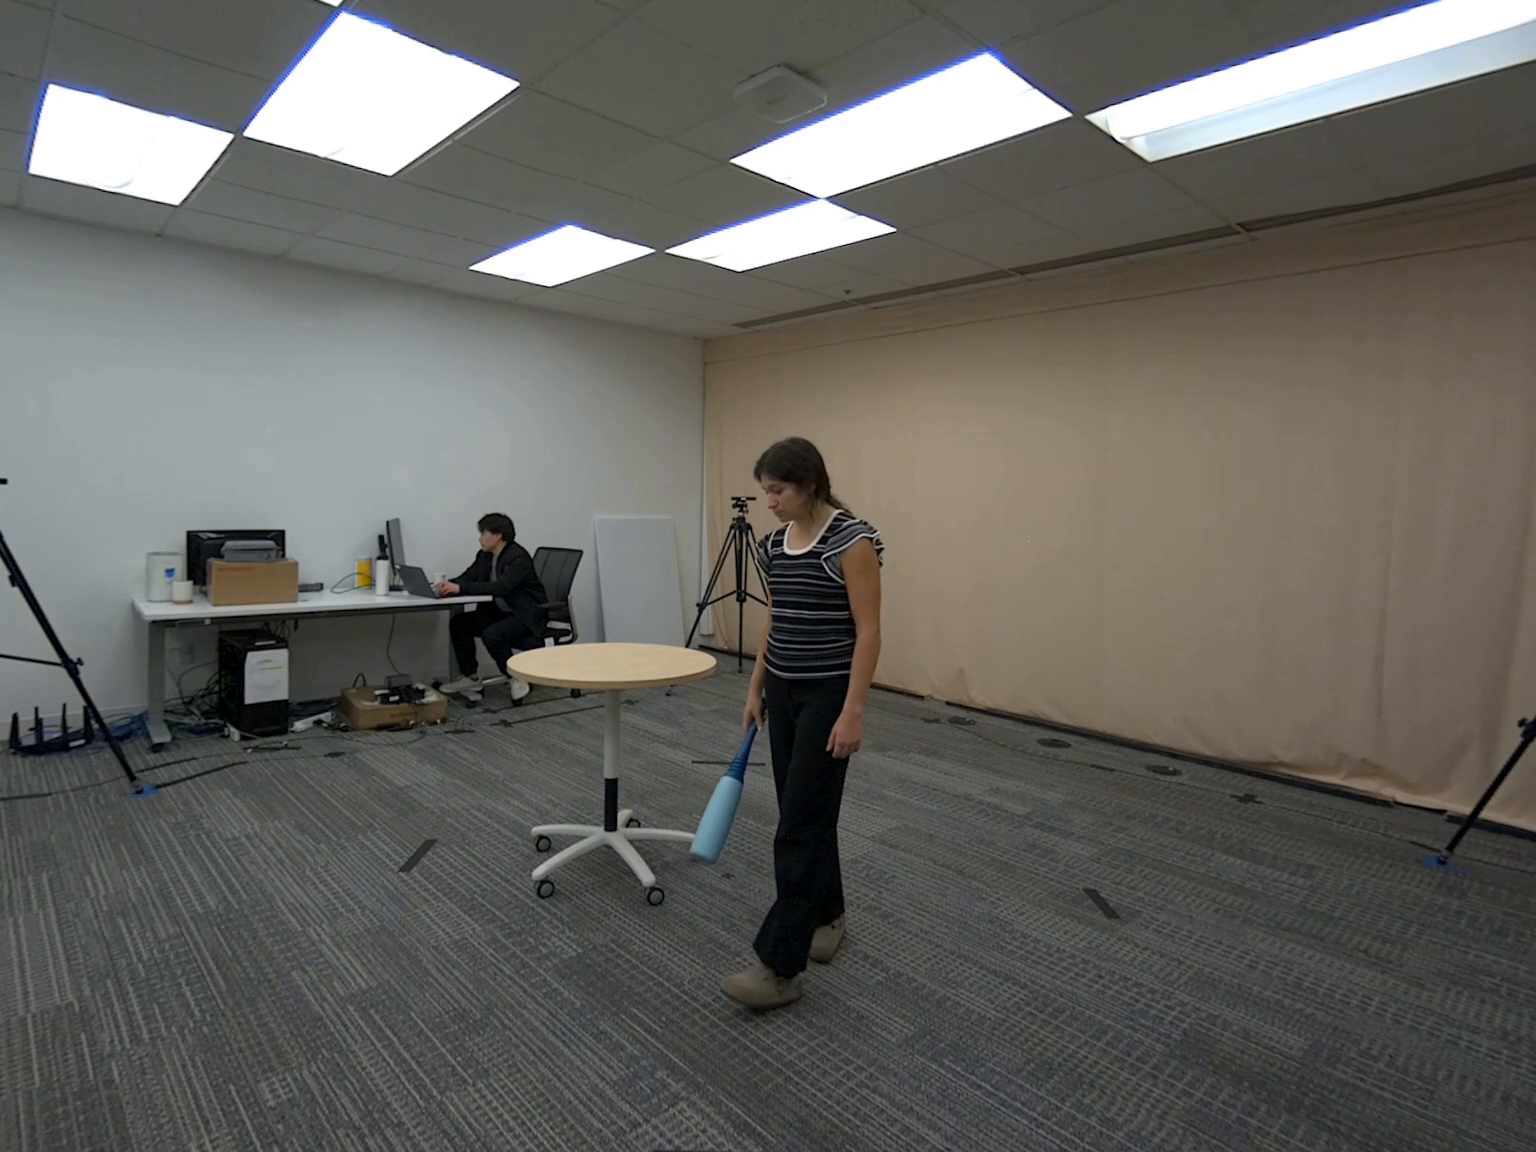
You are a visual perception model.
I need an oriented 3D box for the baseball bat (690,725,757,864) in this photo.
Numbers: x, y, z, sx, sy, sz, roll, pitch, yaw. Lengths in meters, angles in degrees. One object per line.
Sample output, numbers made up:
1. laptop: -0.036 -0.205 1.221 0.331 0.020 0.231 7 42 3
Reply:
1. baseball bat: -0.096 0.616 2.570 0.090 0.547 0.087 20 -31 11
